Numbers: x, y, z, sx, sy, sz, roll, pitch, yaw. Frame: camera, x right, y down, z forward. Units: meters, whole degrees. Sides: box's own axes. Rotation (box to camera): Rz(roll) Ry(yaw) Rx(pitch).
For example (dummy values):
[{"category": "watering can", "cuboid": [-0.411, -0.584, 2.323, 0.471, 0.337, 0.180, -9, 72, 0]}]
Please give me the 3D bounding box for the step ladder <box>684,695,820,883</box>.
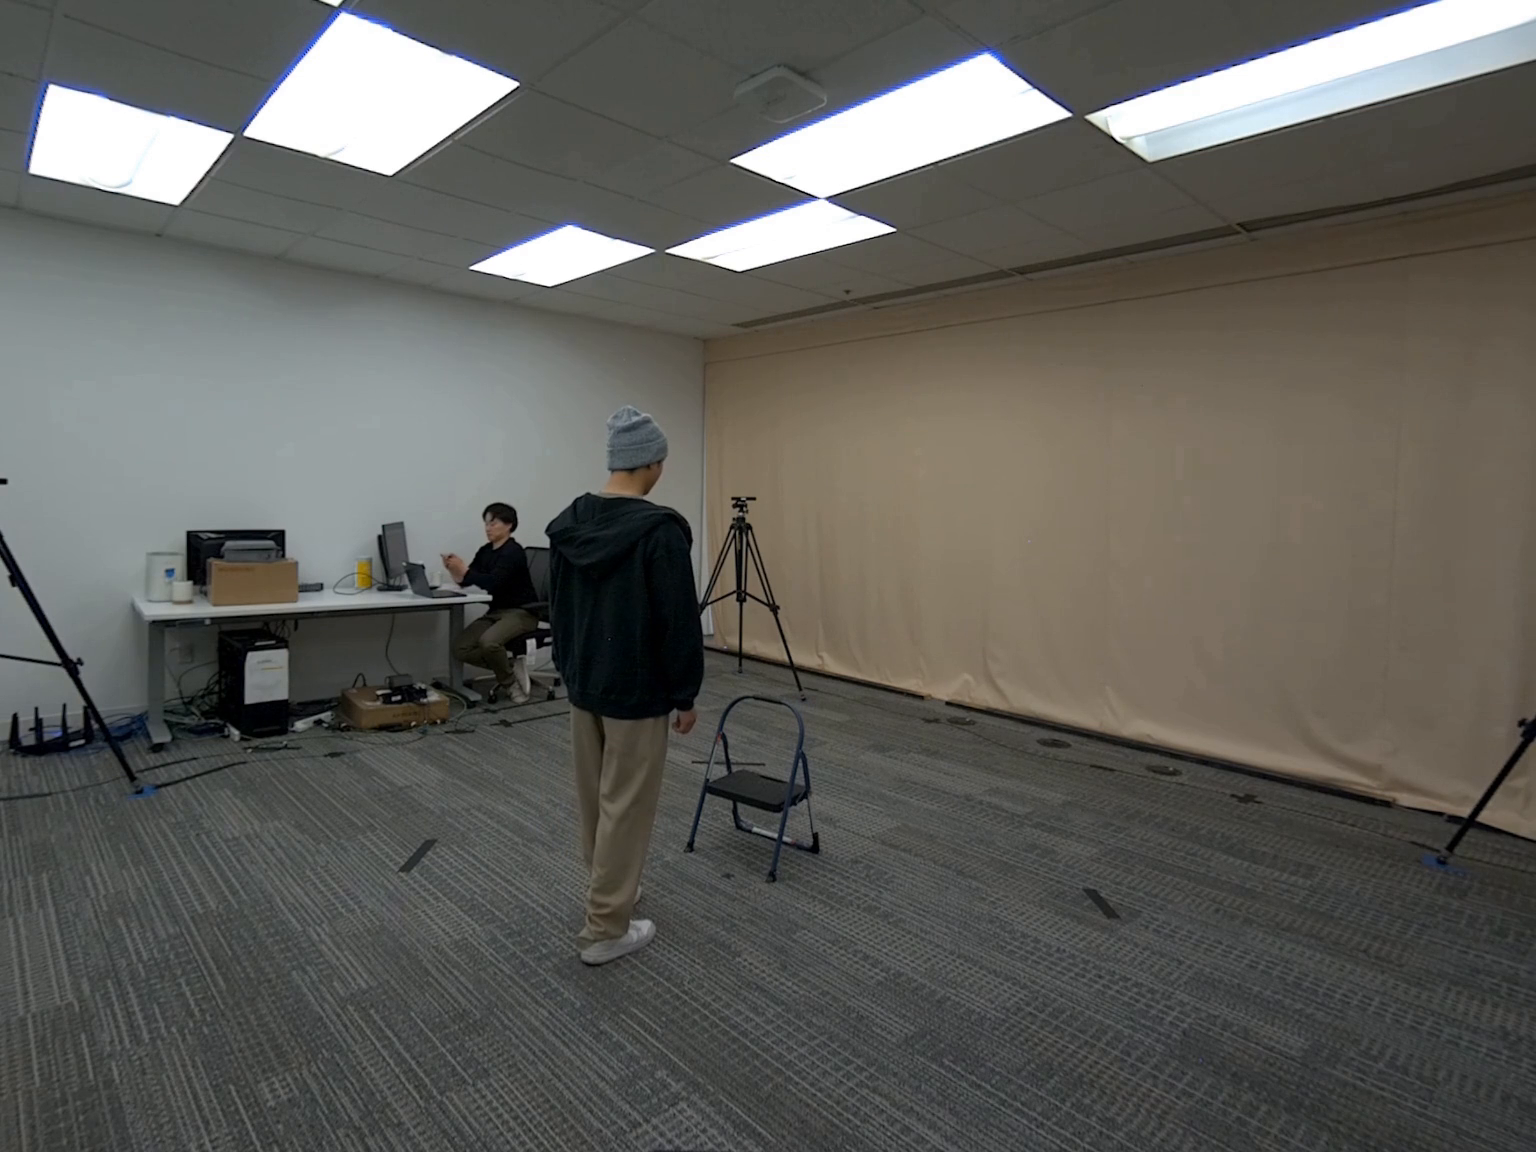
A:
[{"category": "step ladder", "cuboid": [-0.056, 0.788, 3.305, 0.441, 0.604, 0.342, 4, 5, 36]}]
